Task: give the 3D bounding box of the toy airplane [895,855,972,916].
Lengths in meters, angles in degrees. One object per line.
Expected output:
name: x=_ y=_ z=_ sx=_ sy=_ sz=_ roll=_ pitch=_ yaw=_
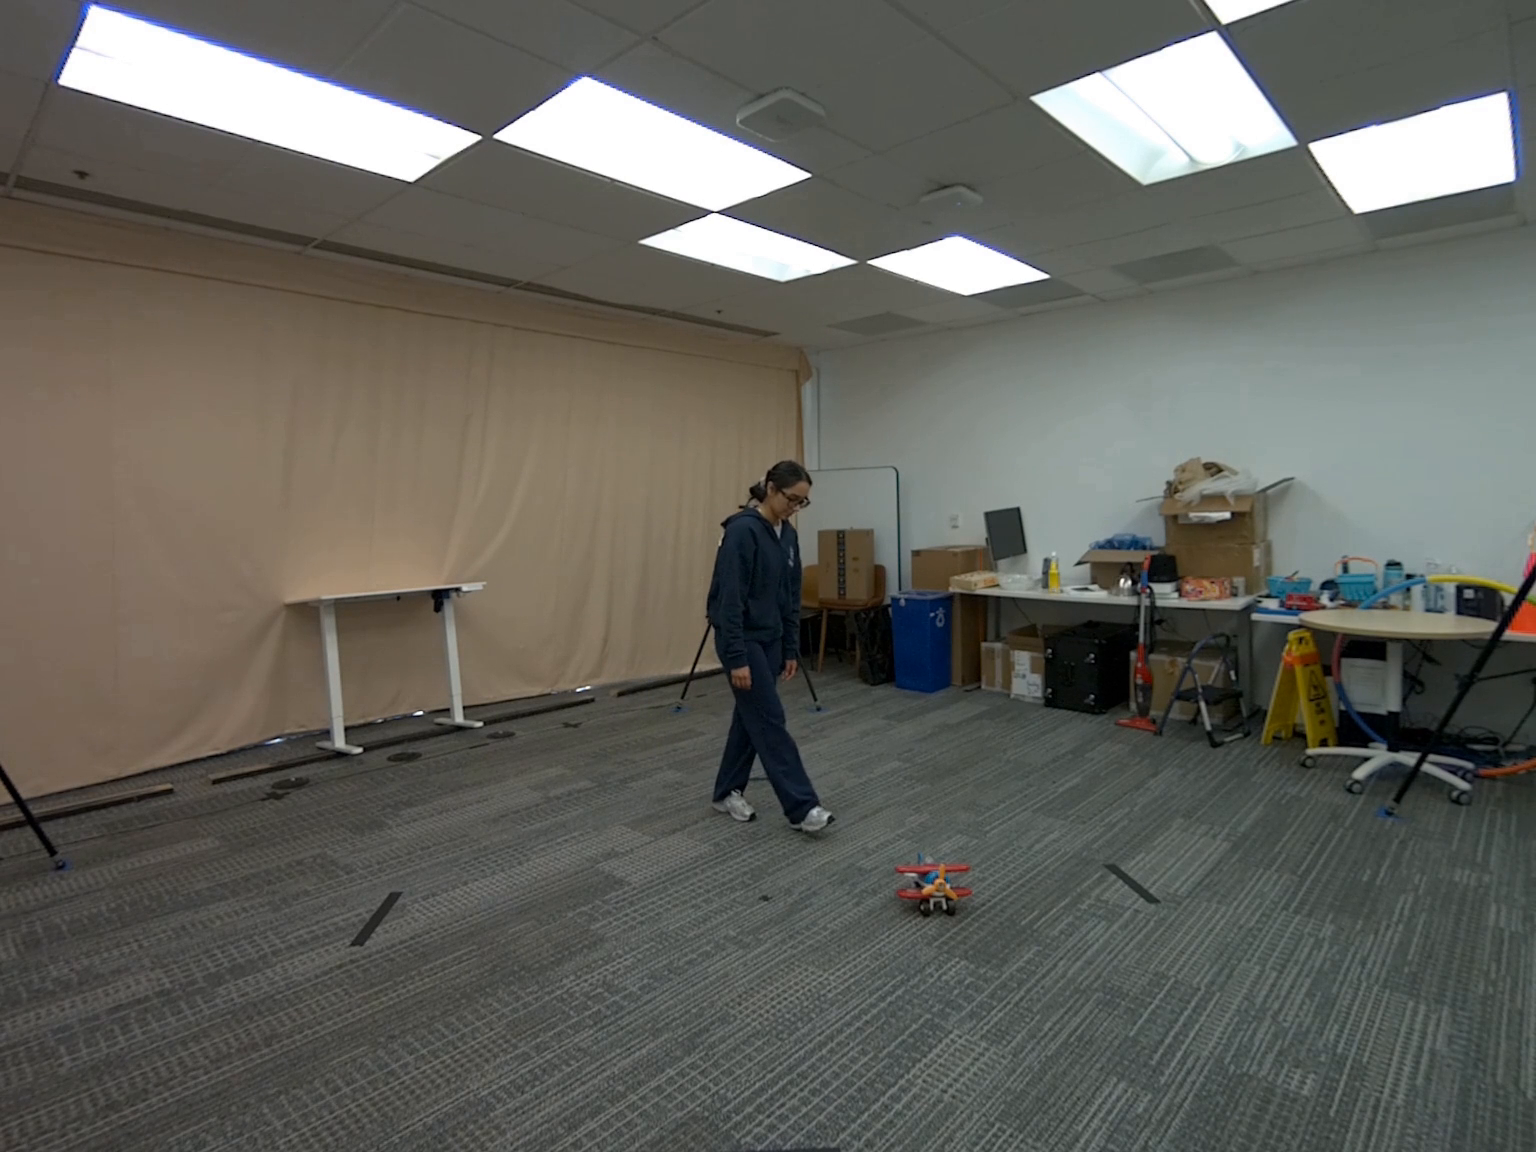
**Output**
toy airplane: x=0.549 y=1.061 z=2.912 sx=0.244 sy=0.156 sz=0.267 roll=-4 pitch=6 yaw=-31
